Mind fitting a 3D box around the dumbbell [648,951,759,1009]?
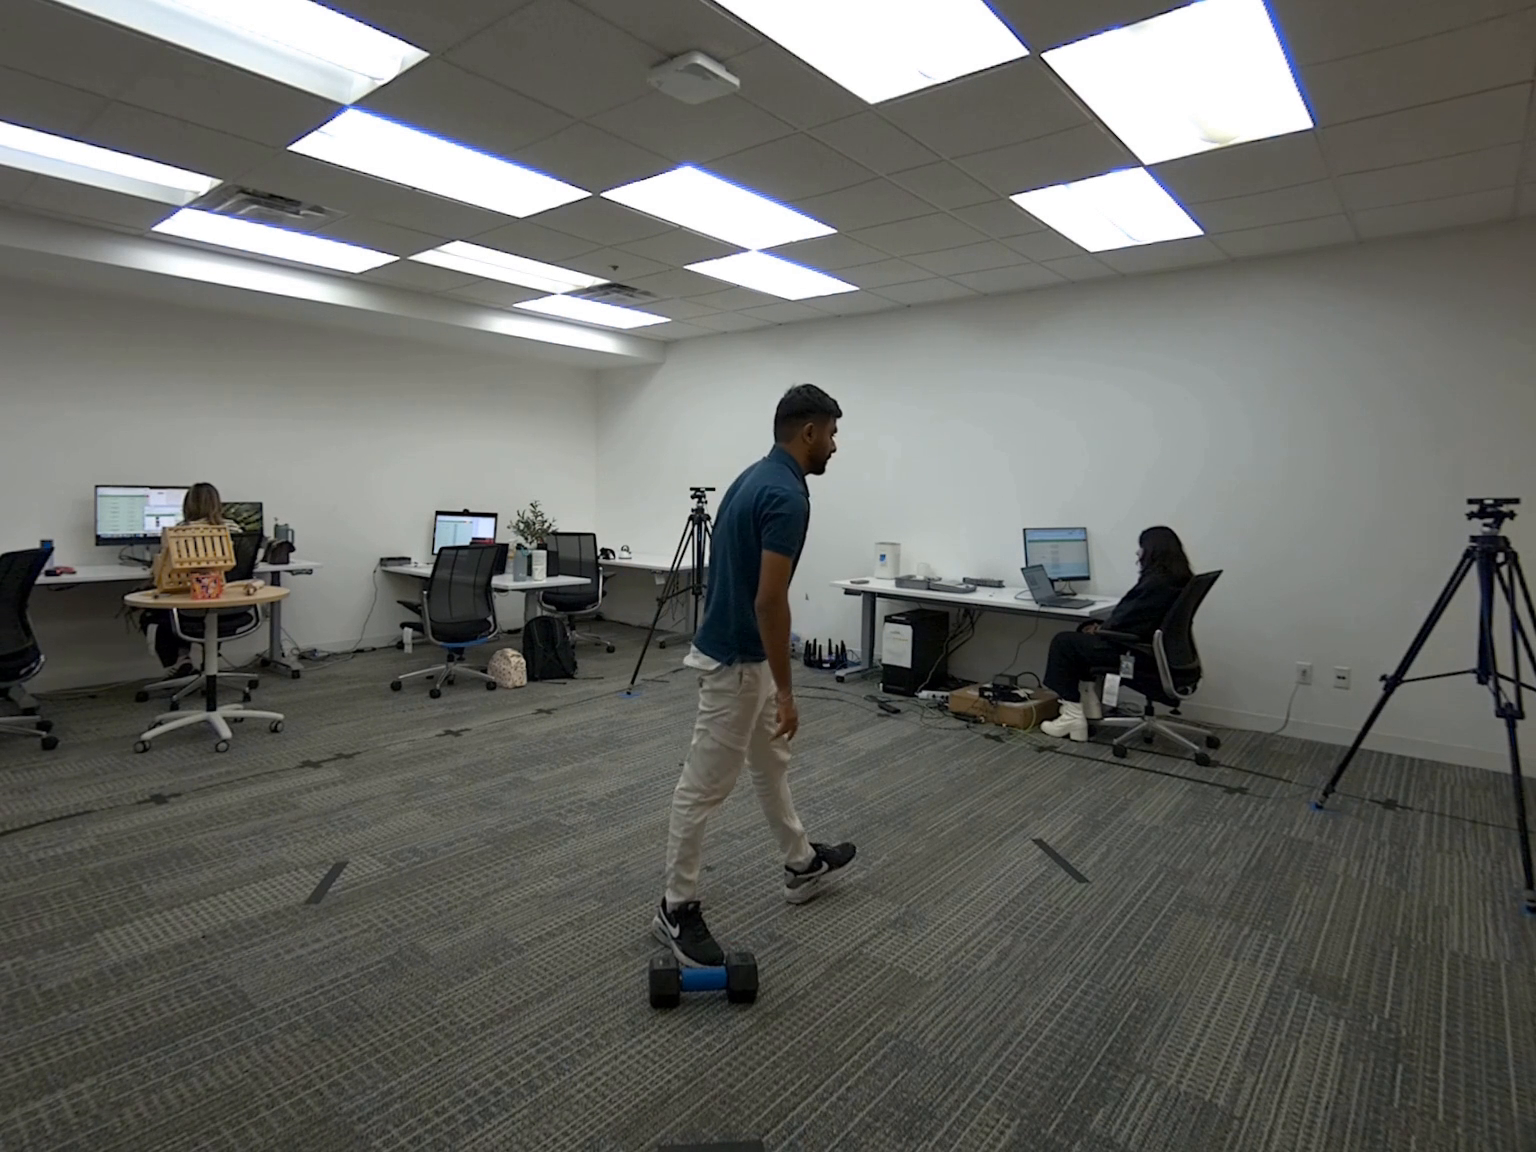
[{"bbox_3d":[-0.178,1.095,2.309,0.291,0.126,0.107,0,-25,-8],"label":"dumbbell"}]
